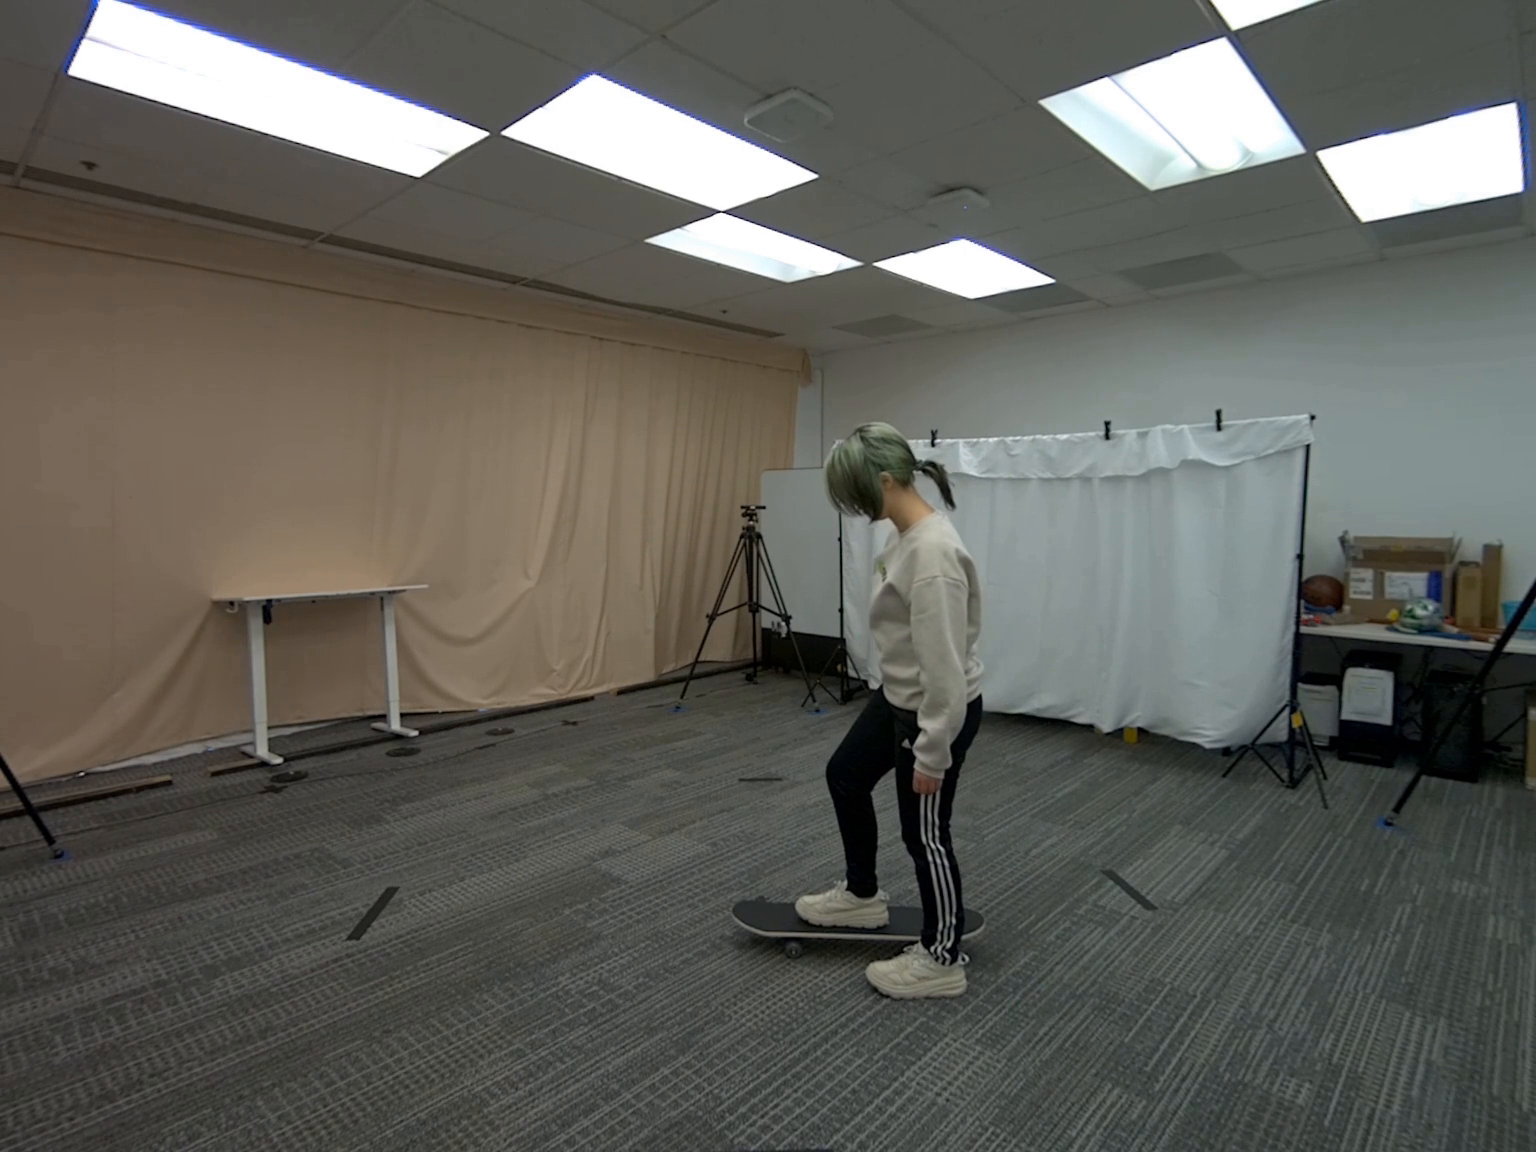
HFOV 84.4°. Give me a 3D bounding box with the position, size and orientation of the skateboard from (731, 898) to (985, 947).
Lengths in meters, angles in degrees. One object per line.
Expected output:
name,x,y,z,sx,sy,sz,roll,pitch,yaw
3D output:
skateboard,0.283,1.116,2.652,0.788,0.110,0.193,0,4,3
